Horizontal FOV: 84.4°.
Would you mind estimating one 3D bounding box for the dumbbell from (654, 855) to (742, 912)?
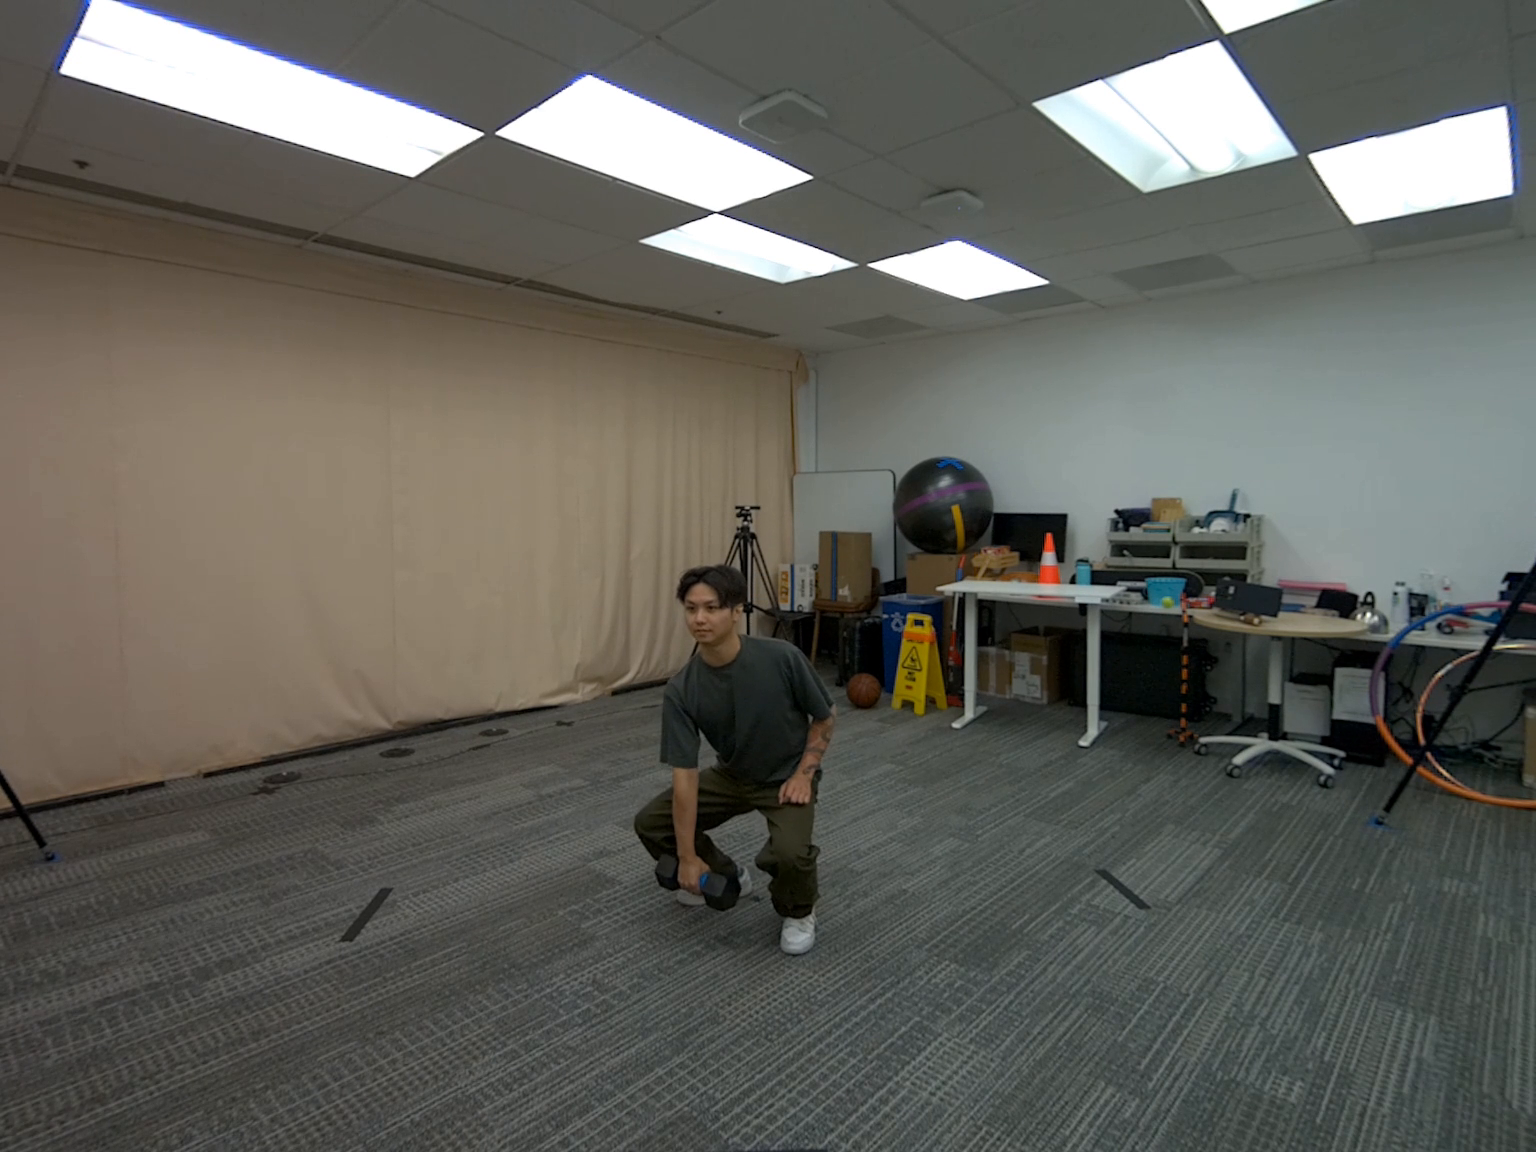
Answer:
[{"bbox_3d":[-0.222,0.974,2.712,0.303,0.121,0.107,3,28,40],"label":"dumbbell"}]
